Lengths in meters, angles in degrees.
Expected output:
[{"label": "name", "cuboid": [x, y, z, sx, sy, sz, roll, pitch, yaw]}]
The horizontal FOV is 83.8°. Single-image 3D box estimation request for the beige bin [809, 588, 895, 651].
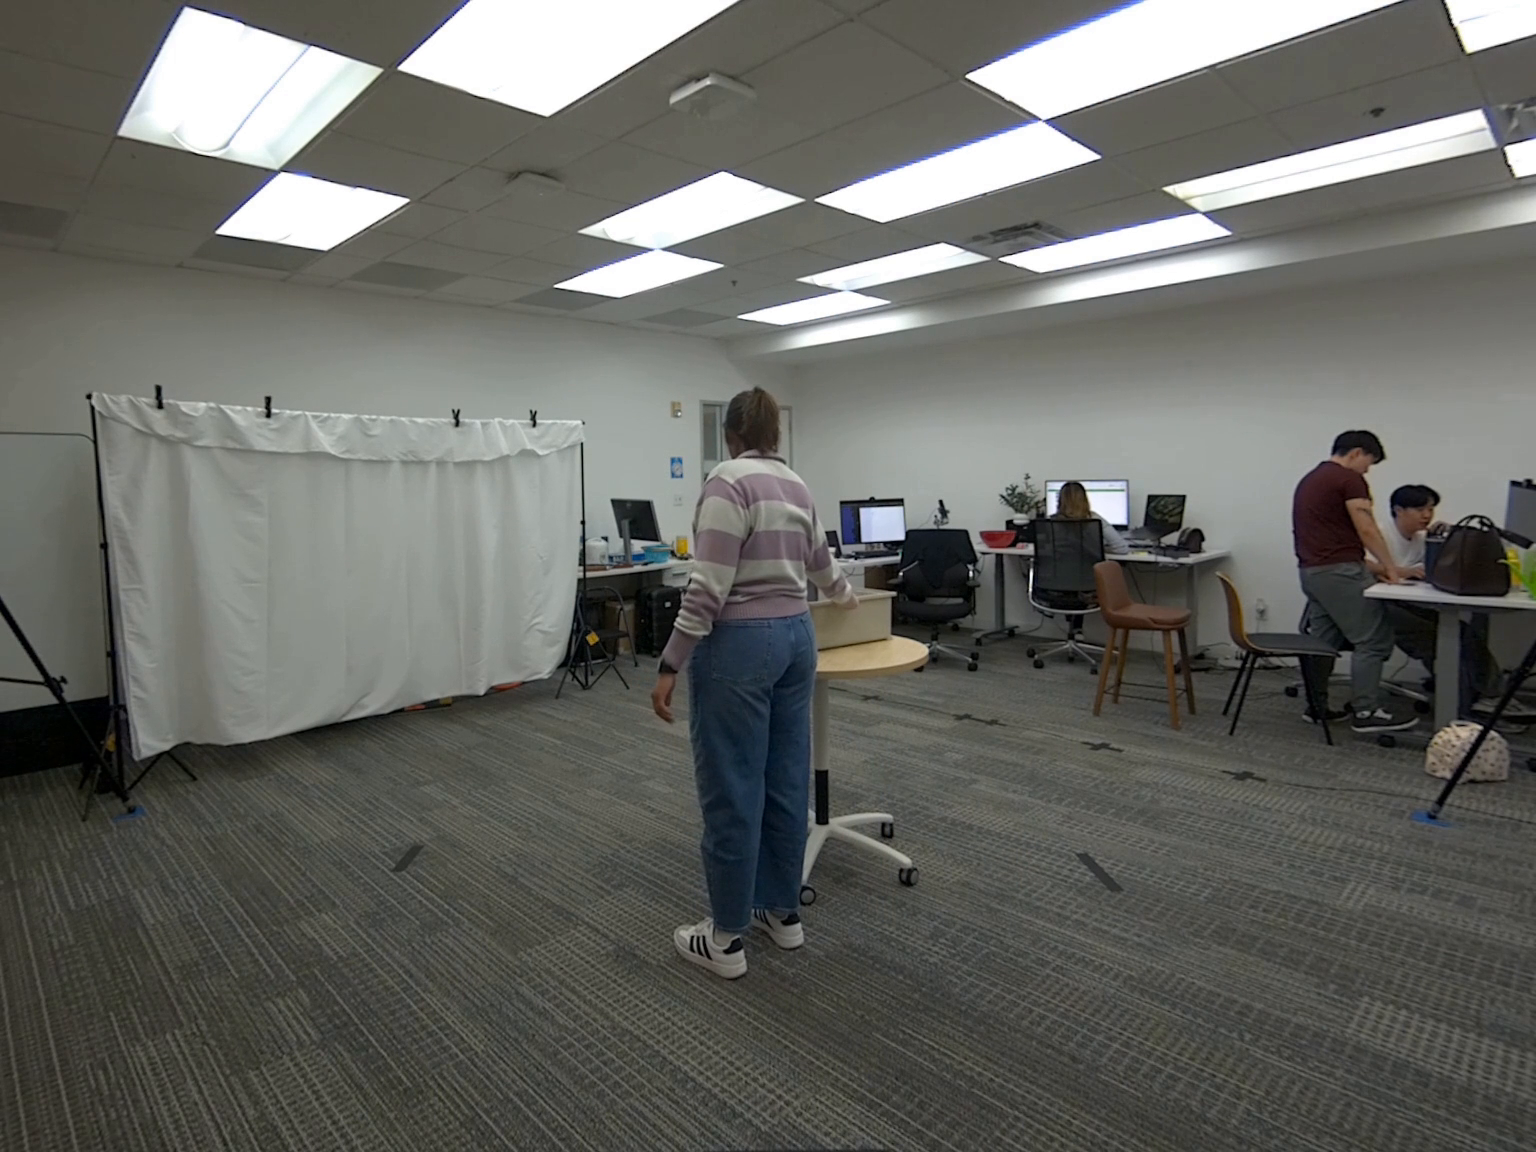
[{"label": "beige bin", "cuboid": [0.203, 0.158, 3.256, 0.412, 0.188, 0.389, -5, 7, -35]}]
